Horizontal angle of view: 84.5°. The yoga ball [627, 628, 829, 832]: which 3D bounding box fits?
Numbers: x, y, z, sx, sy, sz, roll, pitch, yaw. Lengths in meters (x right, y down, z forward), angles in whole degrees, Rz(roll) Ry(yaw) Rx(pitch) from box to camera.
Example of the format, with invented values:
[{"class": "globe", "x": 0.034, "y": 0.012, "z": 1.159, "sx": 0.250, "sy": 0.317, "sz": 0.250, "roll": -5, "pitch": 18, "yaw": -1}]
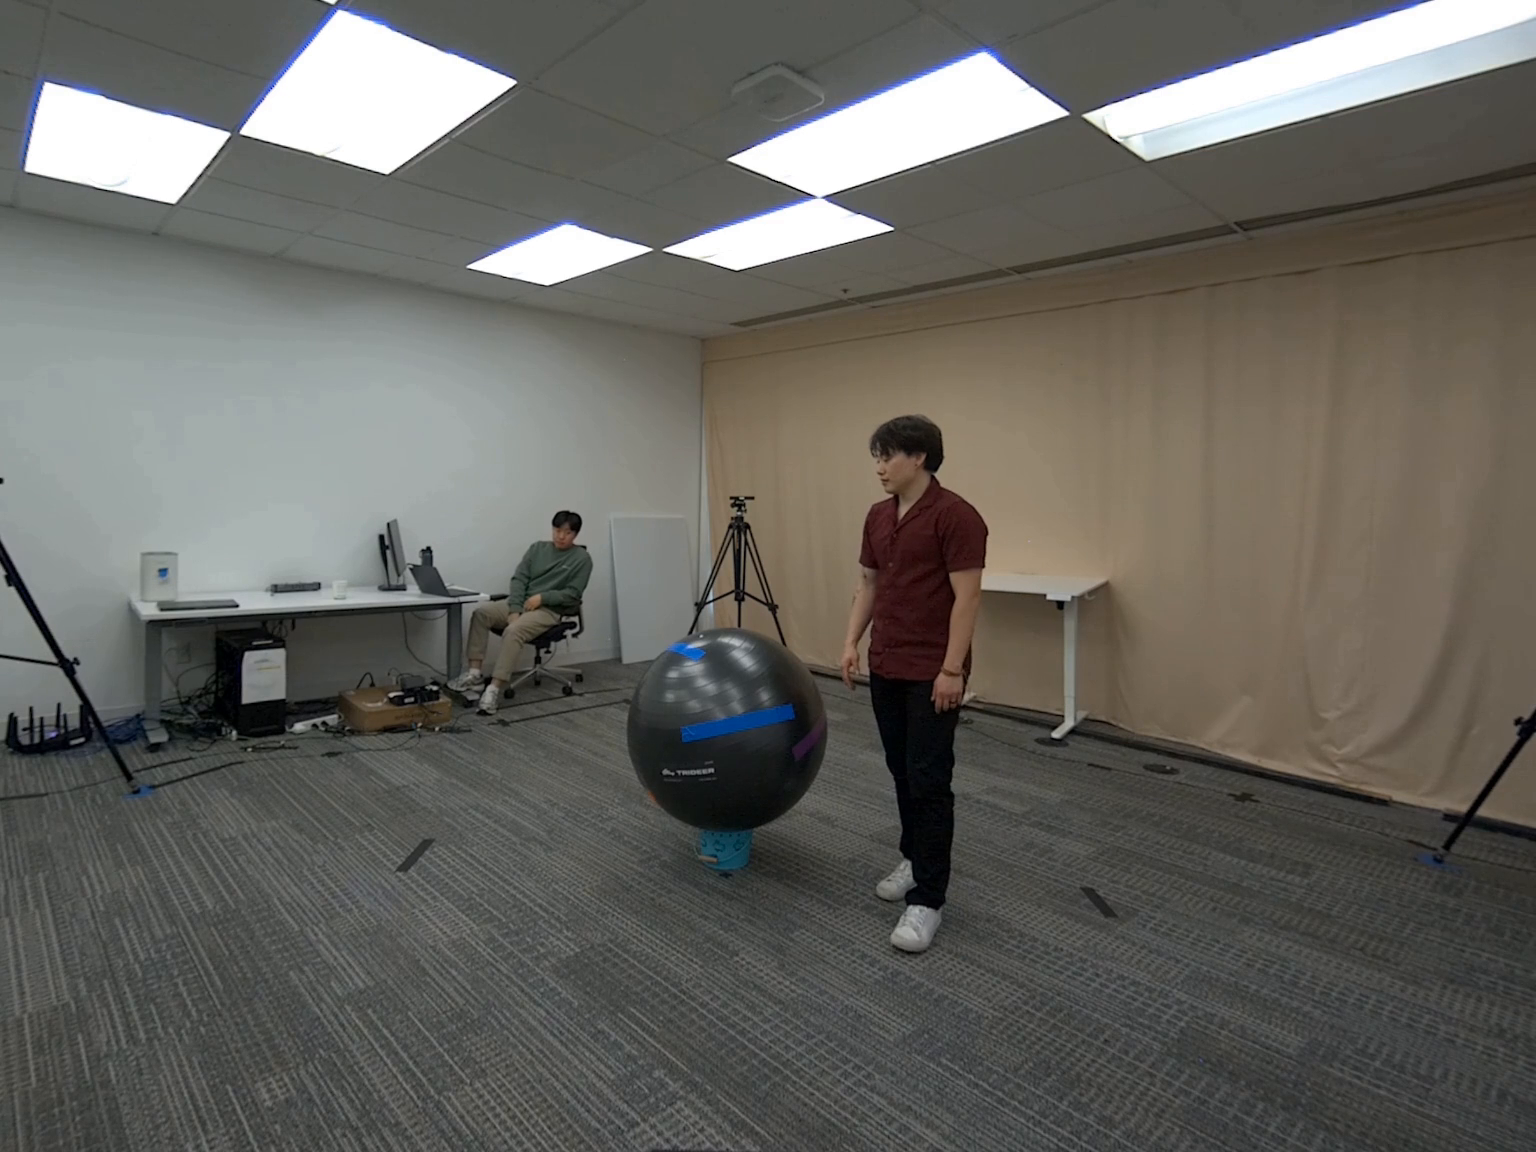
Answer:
[{"class": "yoga ball", "x": -0.169, "y": 0.585, "z": 3.211, "sx": 0.757, "sy": 0.756, "sz": 0.761, "roll": 1, "pitch": 4, "yaw": -1}]
